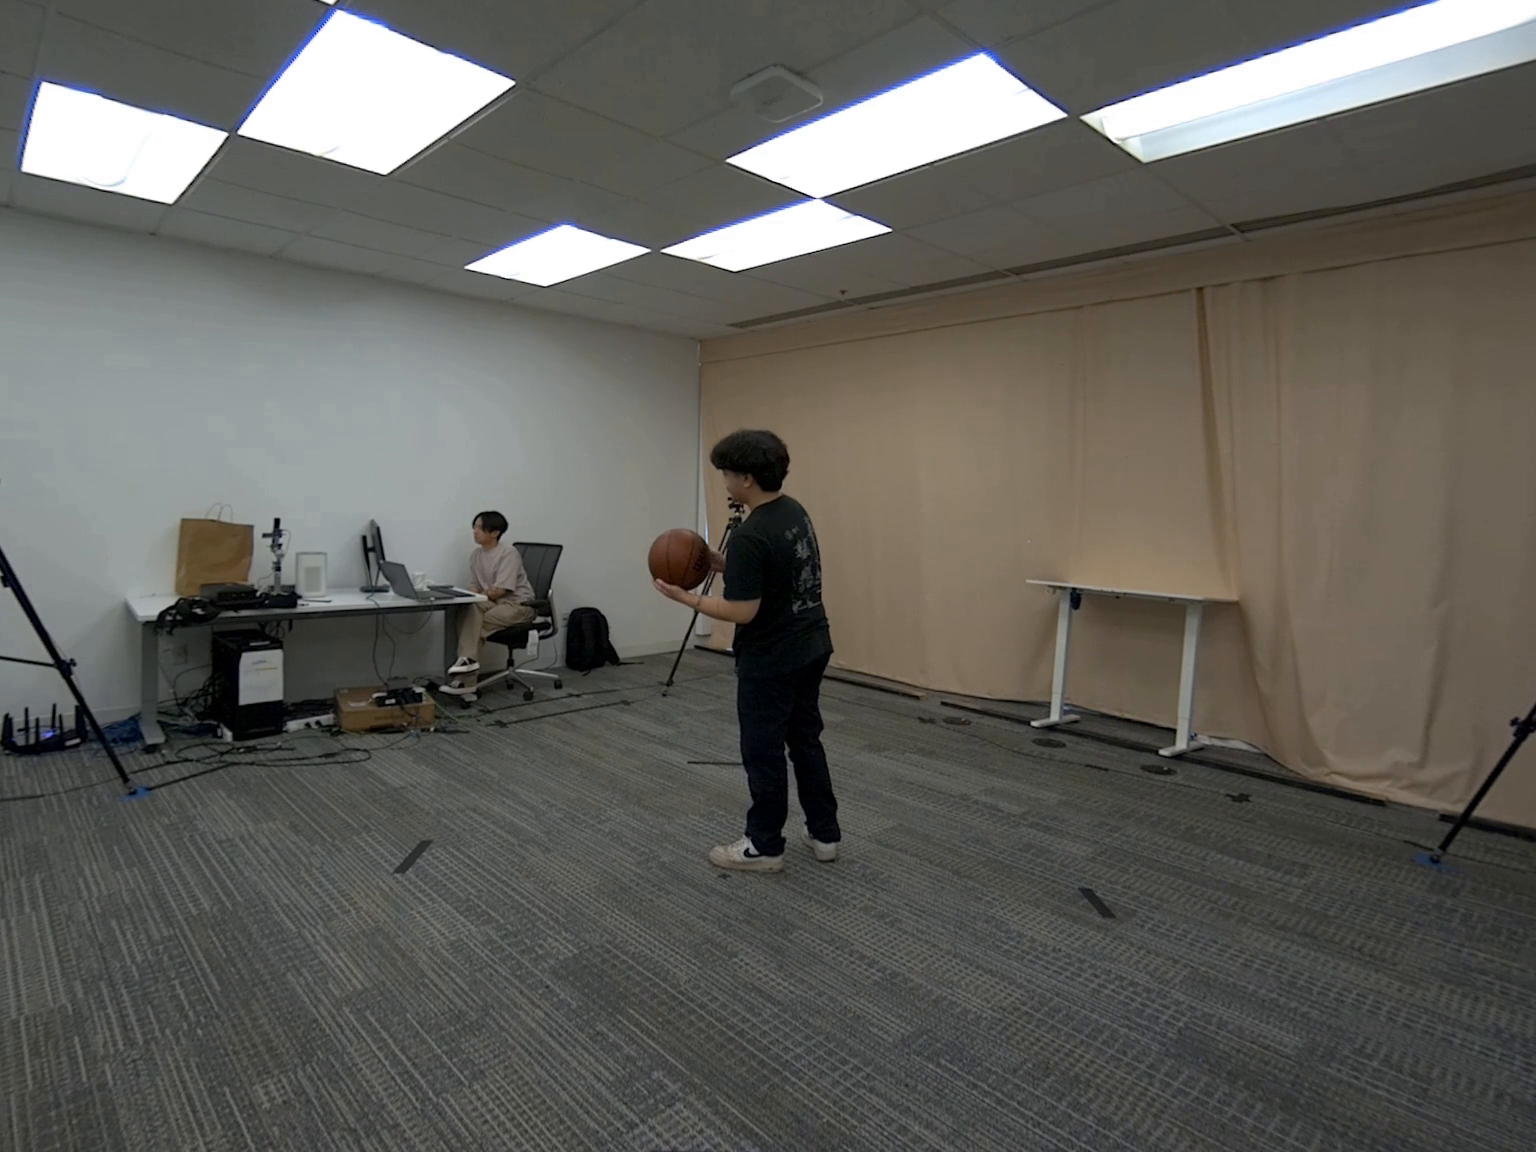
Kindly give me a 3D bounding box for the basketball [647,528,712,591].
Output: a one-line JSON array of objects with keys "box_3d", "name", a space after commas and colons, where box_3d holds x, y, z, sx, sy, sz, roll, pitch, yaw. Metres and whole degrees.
[{"box_3d": [-0.323, -0.059, 3.161, 0.236, 0.235, 0.237, 1, 4, -1], "name": "basketball"}]
